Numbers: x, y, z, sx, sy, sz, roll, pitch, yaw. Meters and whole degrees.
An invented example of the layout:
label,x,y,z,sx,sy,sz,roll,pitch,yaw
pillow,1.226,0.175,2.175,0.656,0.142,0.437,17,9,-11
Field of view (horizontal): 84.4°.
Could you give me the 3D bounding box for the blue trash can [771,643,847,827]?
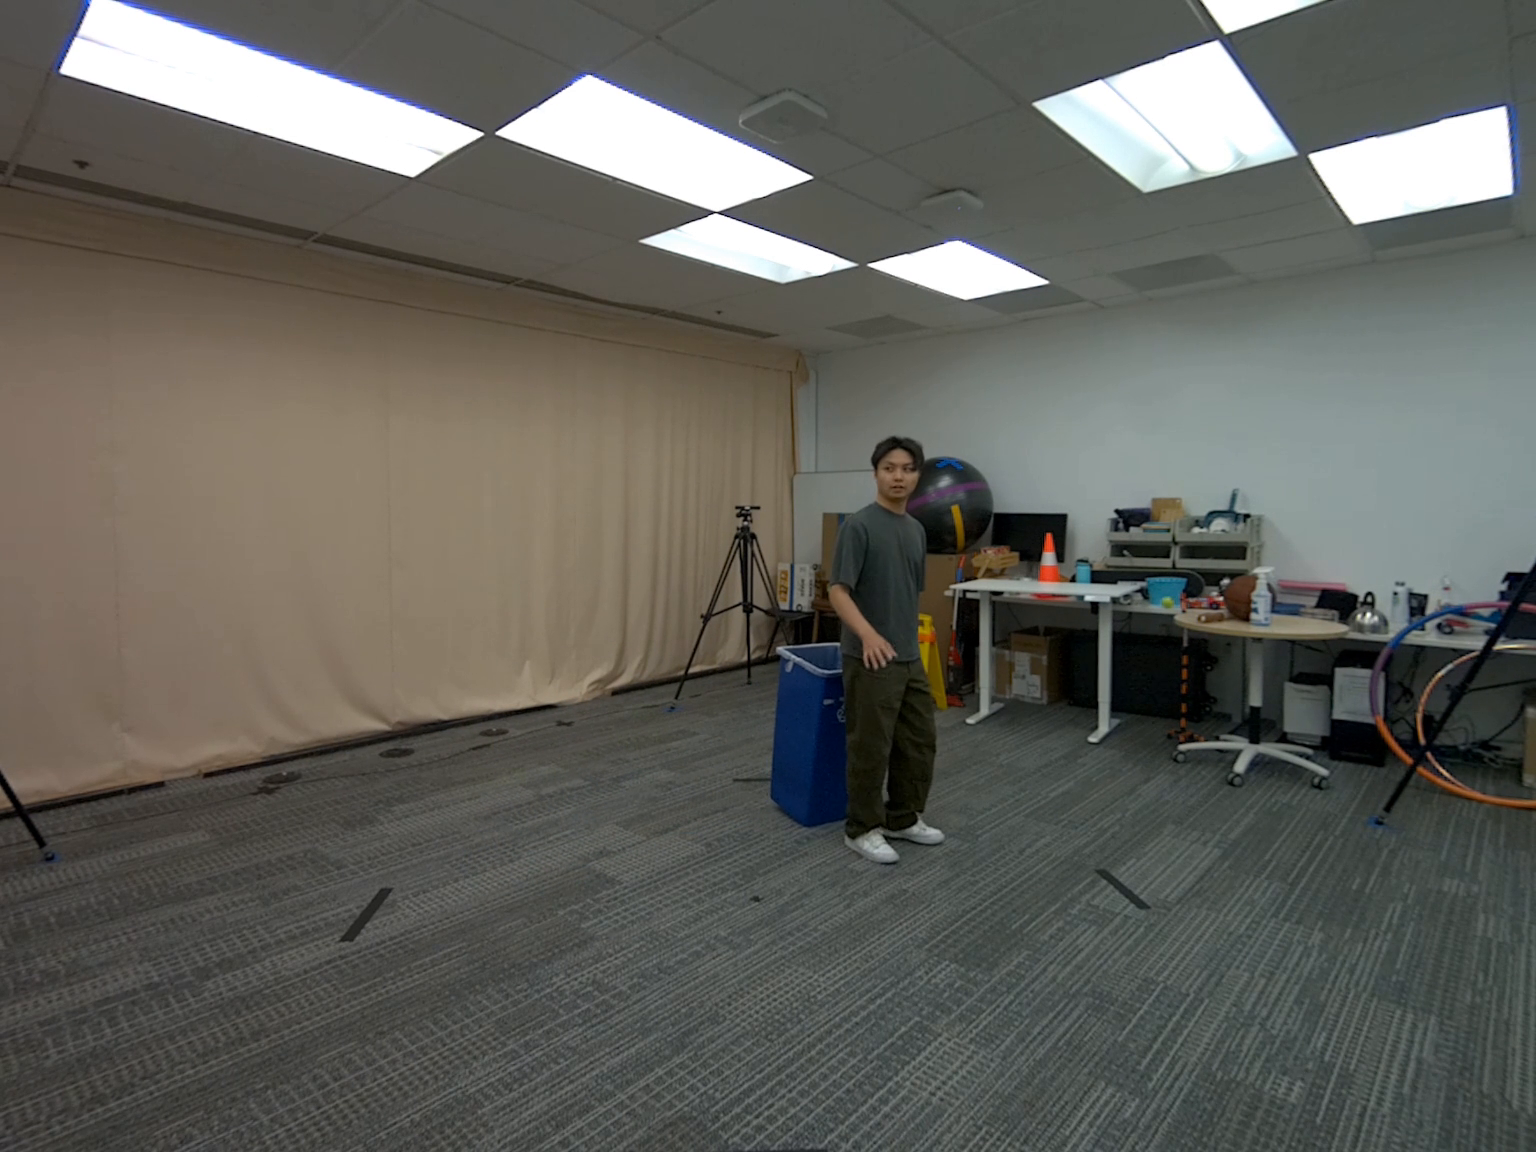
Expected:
label,x,y,z,sx,sy,sz,roll,pitch,yaw
blue trash can,0.250,0.701,3.783,0.363,0.709,0.391,-1,13,-32
